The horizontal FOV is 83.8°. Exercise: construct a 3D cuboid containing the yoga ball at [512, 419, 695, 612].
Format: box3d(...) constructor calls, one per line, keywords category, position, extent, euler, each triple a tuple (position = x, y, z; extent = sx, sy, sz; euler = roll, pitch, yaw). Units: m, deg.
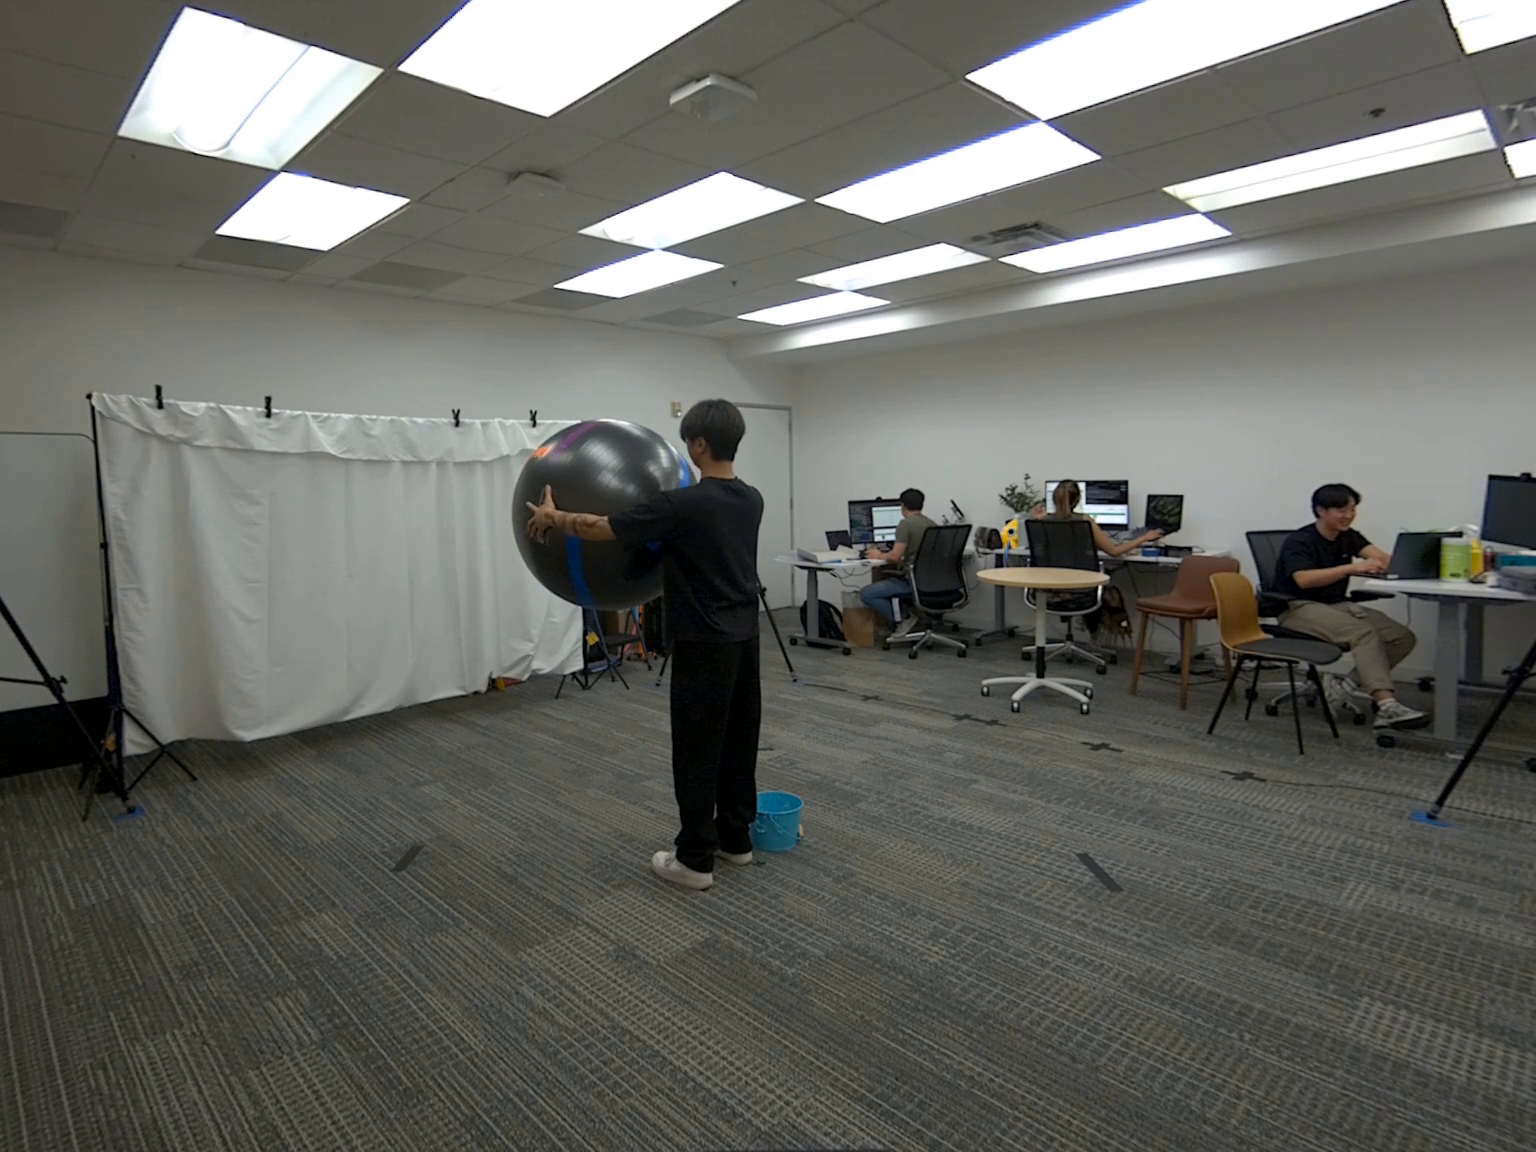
box3d(category="yoga ball", position=(-0.647, -0.237, 3.413), extent=(0.757, 0.755, 0.762), euler=(-1, 5, -2))
